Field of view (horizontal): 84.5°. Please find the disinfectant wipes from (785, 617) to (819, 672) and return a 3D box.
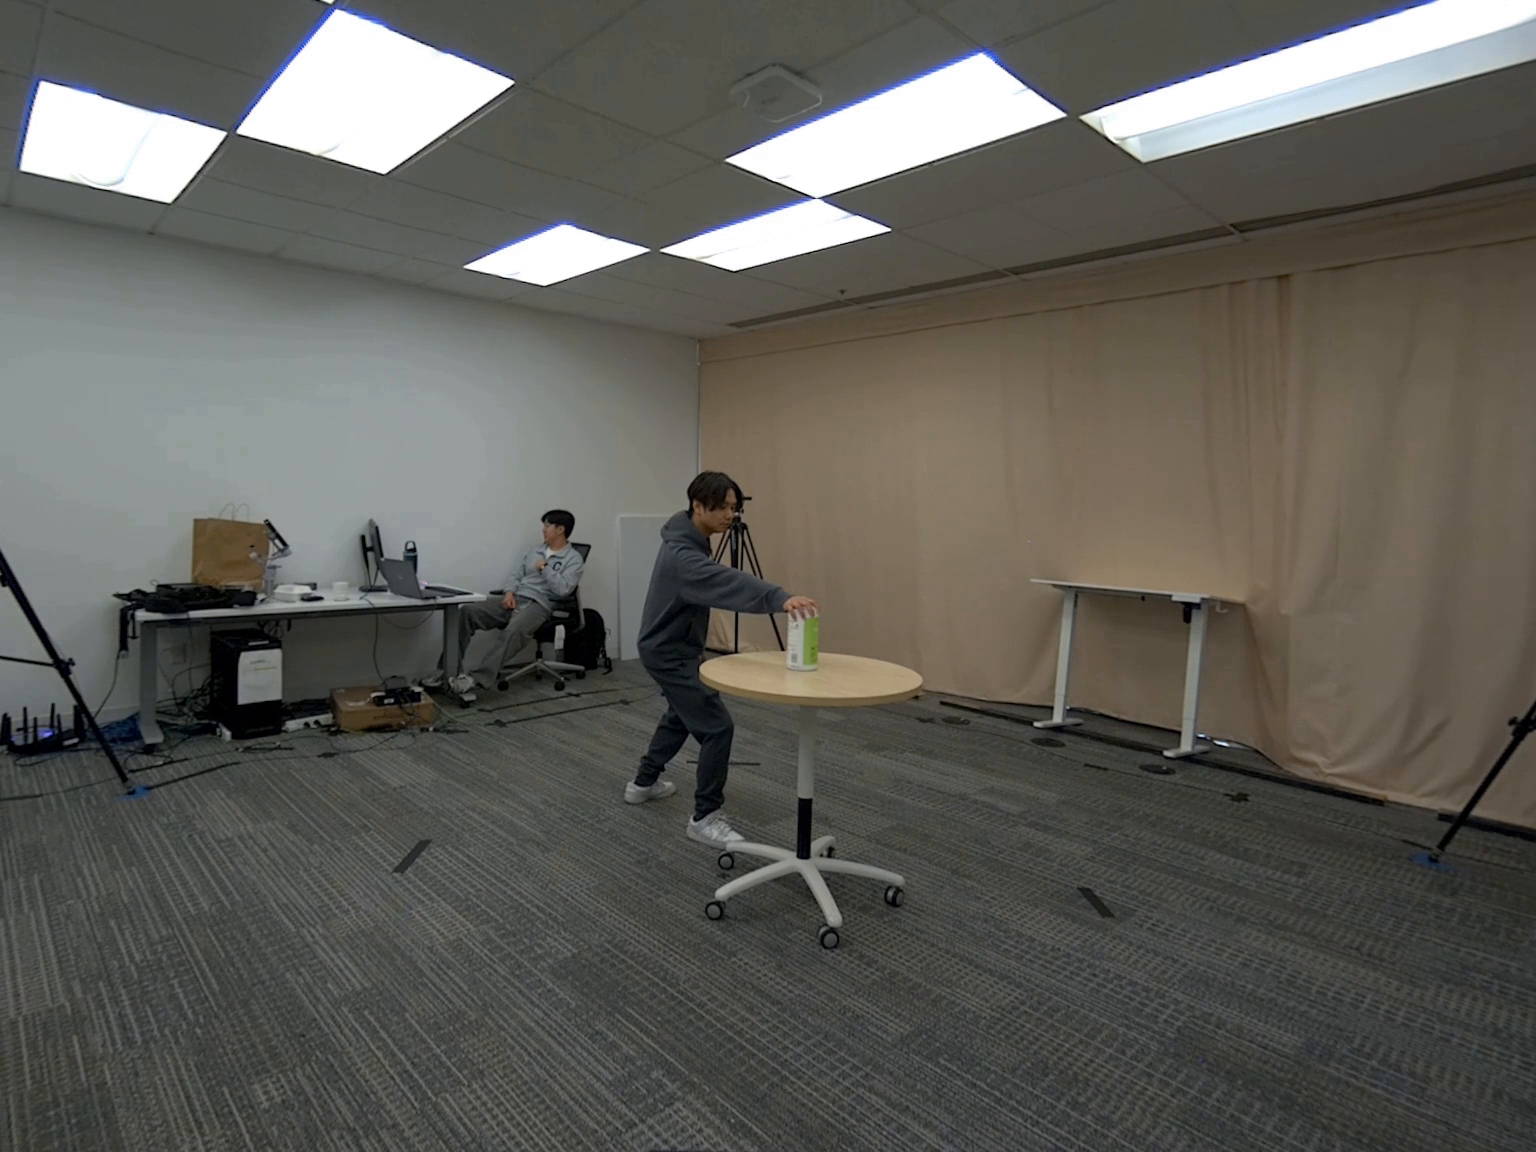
[{"bbox_3d":[0.118,0.223,2.962,0.118,0.217,0.118,2,2,-1],"label":"disinfectant wipes"}]
